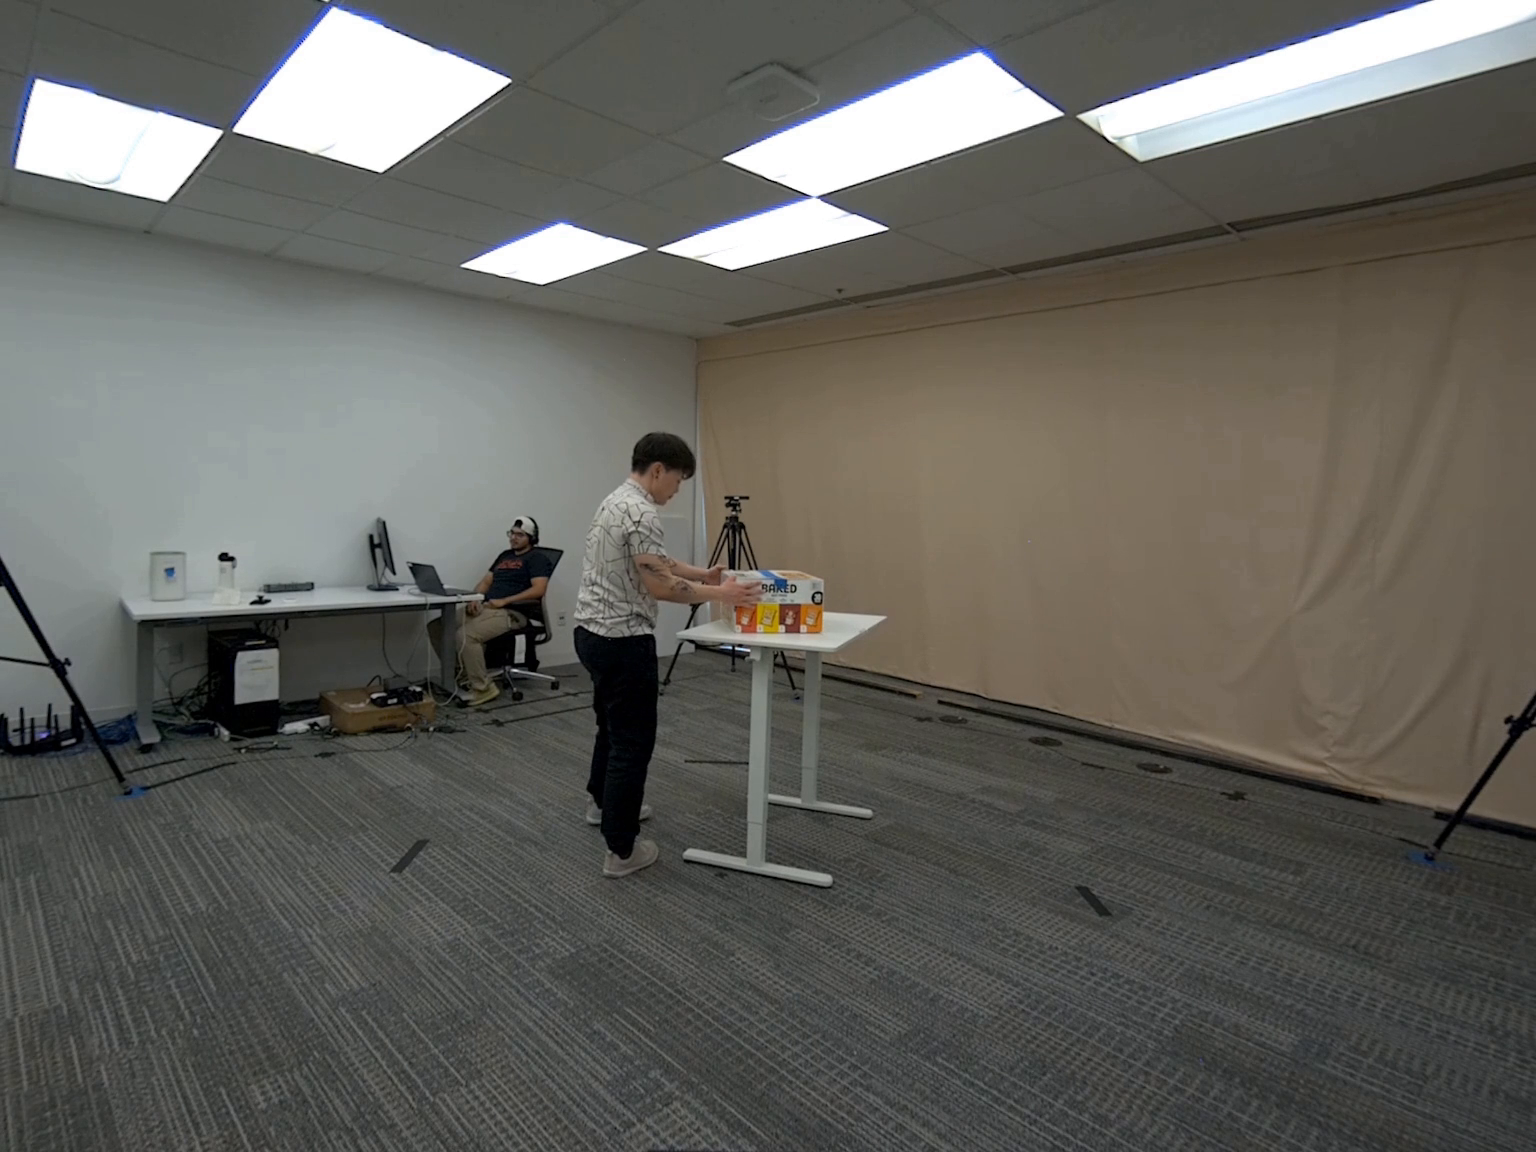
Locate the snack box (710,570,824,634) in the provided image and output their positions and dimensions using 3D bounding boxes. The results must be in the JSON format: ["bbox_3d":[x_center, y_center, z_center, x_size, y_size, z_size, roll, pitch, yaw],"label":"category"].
[{"bbox_3d":[-0.002,0.093,3.363,0.338,0.205,0.409,0,4,-10],"label":"snack box"}]
